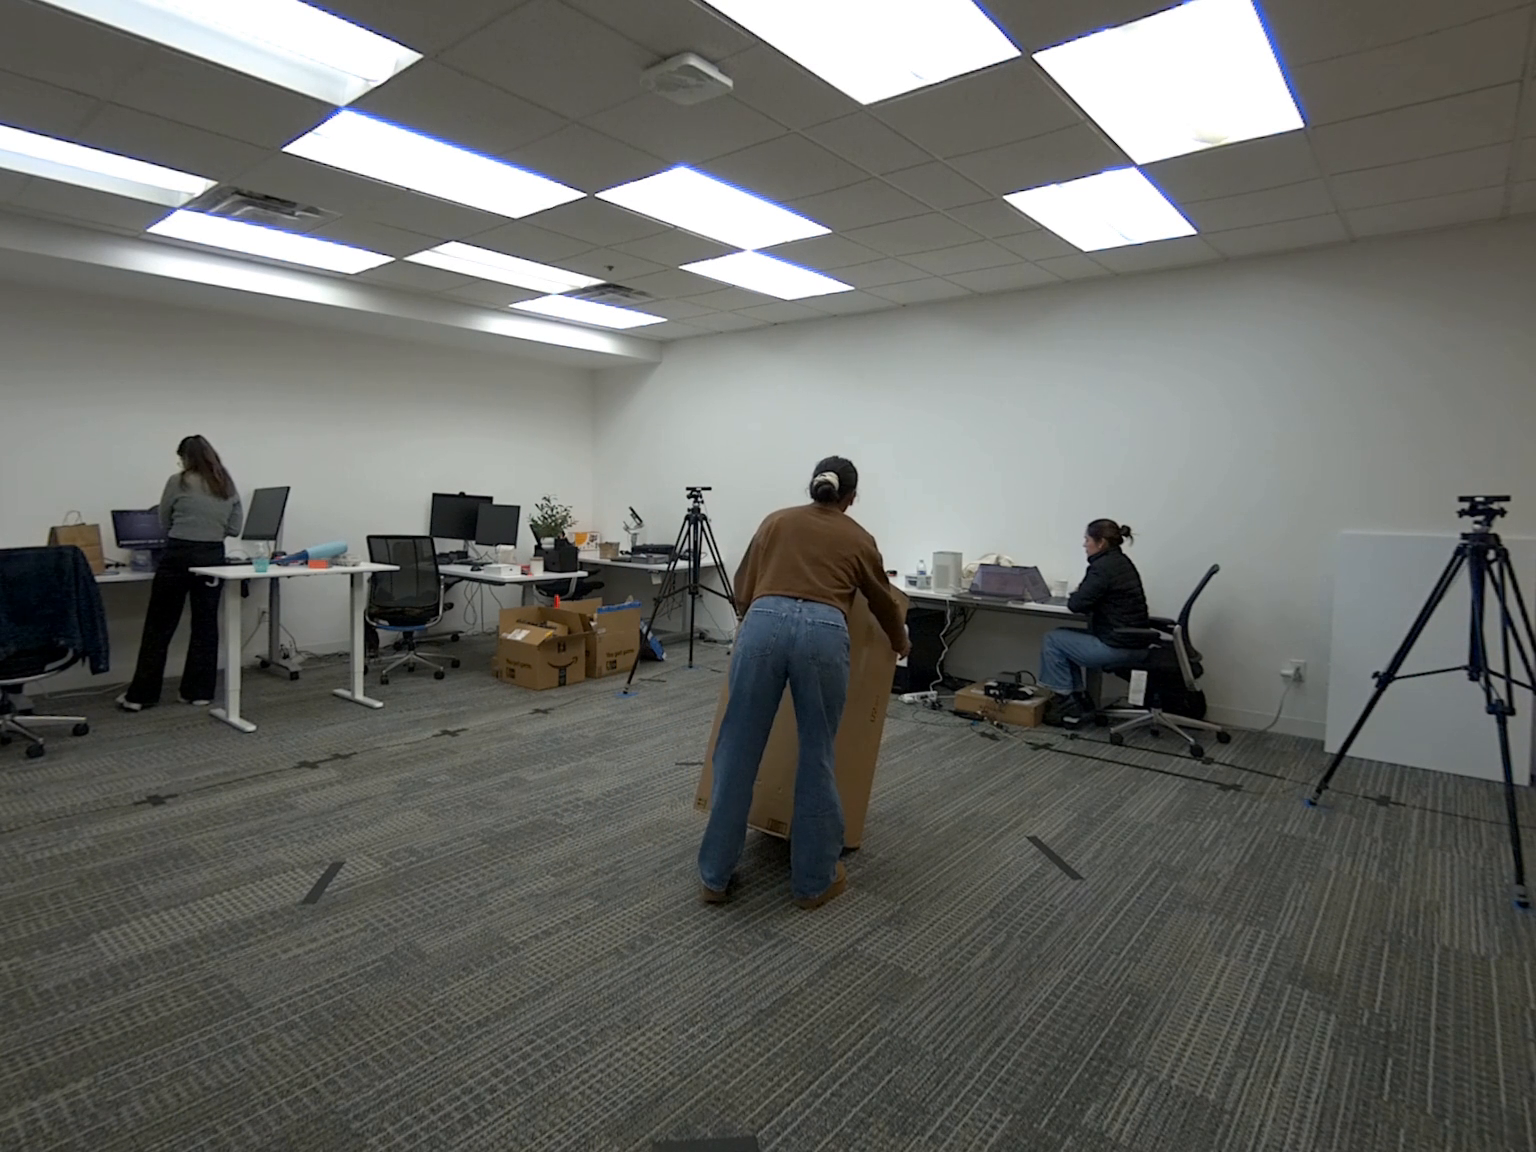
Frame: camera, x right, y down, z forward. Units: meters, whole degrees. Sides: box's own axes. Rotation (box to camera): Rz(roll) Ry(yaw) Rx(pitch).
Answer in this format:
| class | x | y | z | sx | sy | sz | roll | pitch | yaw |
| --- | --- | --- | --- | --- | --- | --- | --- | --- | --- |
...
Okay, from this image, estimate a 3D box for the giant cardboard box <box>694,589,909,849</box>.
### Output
| class | x | y | z | sx | sy | sz | roll | pitch | yaw |
| --- | --- | --- | --- | --- | --- | --- | --- | --- | --- |
| giant cardboard box | 0.149 | 0.474 | 3.350 | 0.440 | 1.035 | 0.554 | 4 | -16 | 36 |
